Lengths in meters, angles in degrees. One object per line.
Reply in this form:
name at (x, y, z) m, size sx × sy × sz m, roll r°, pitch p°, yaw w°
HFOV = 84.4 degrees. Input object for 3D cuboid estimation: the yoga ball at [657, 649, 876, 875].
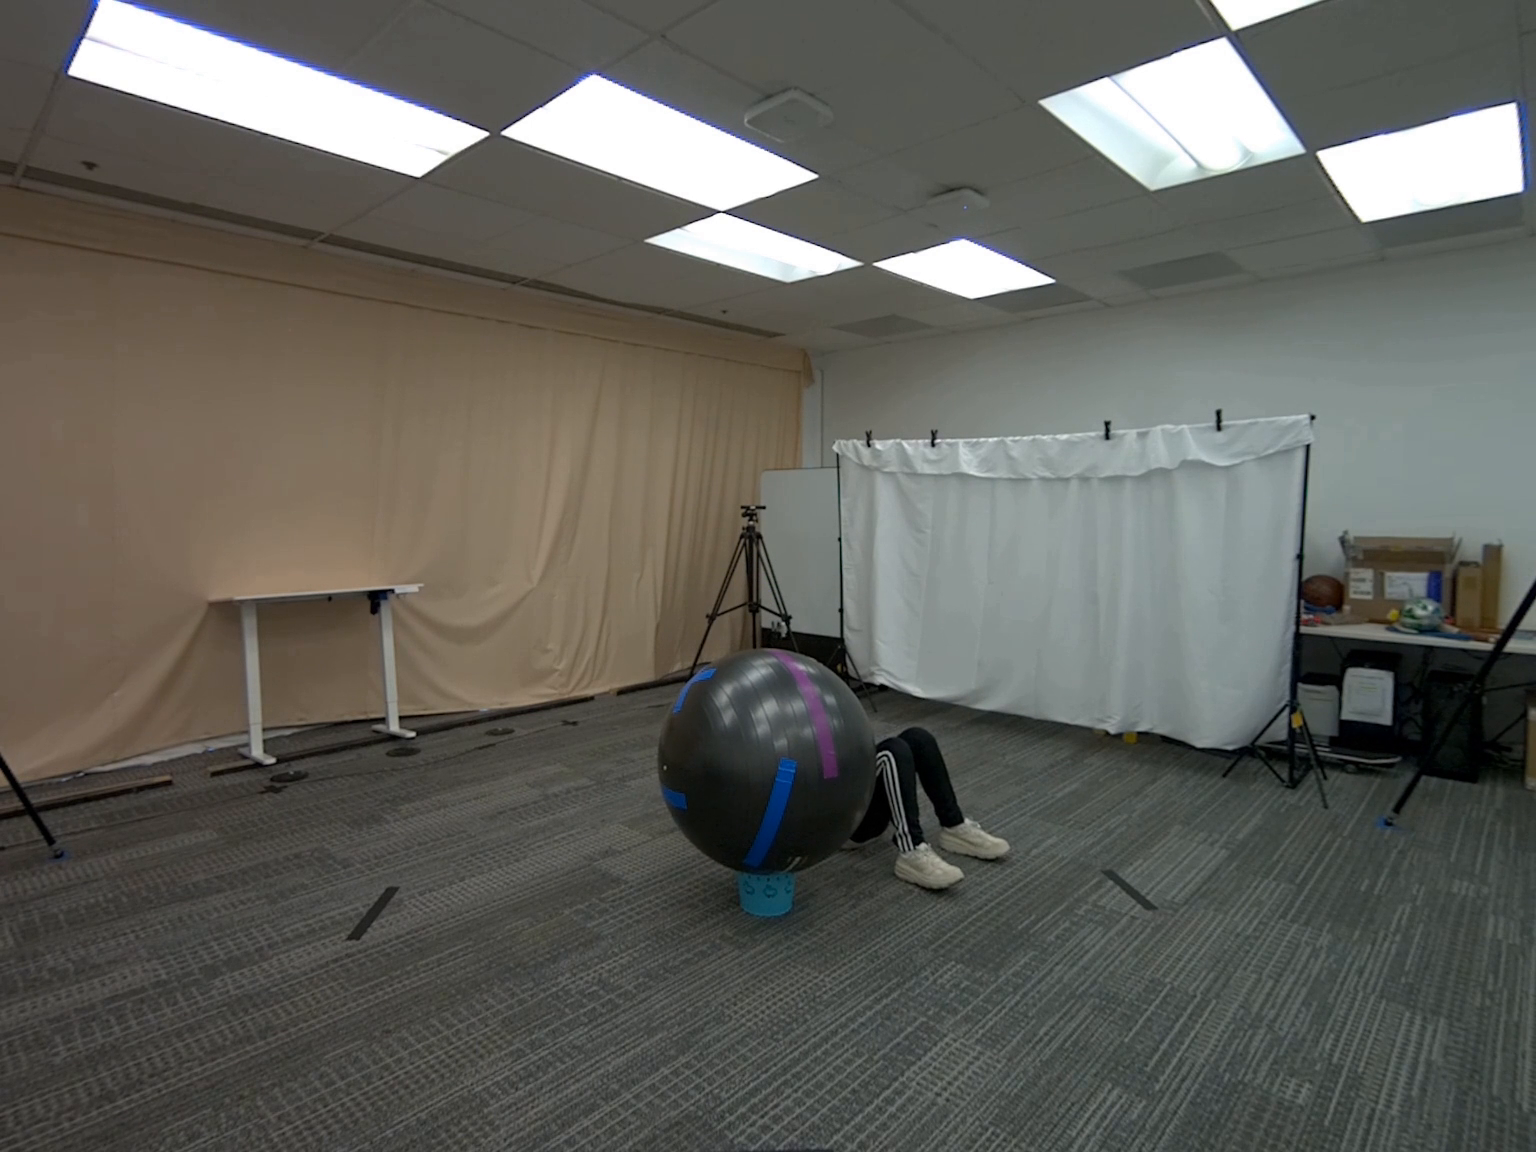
yoga ball at (-0.001, 0.635, 2.924) m, size 0.757 × 0.756 × 0.760 m, roll 0°, pitch 4°, yaw -2°
